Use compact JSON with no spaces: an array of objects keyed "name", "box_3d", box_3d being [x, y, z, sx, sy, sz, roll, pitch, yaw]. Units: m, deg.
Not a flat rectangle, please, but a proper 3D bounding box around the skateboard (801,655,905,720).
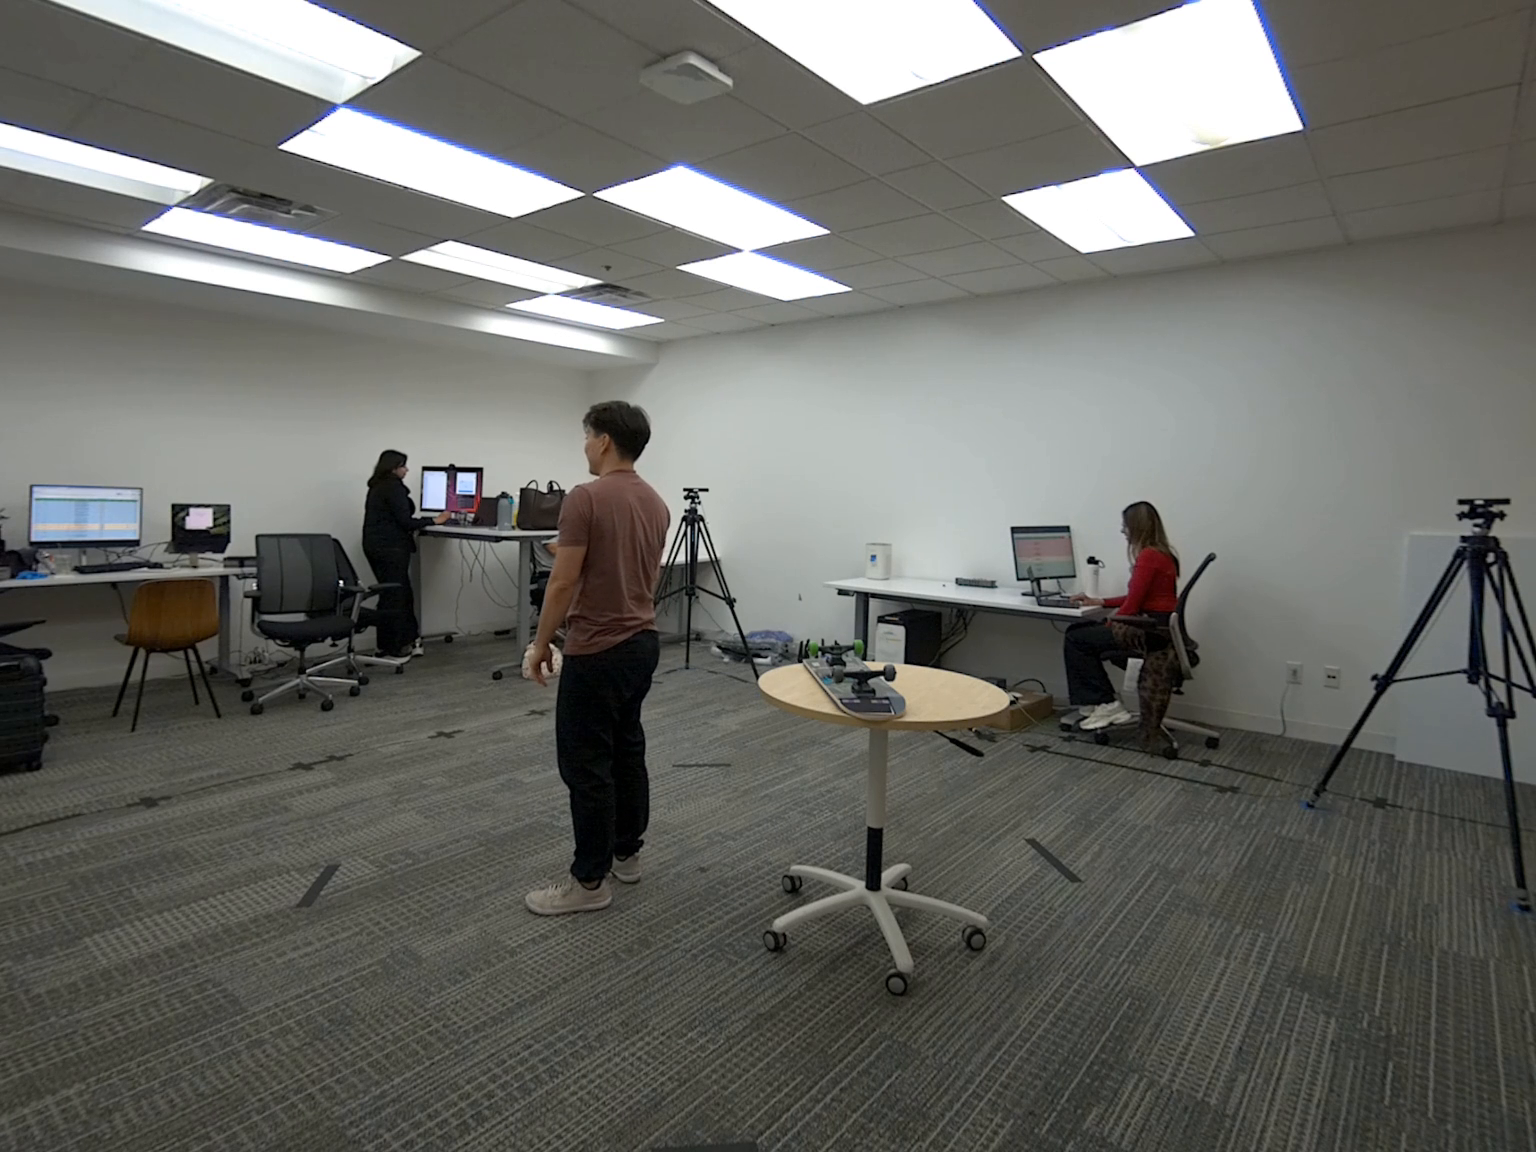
[{"name":"skateboard","box_3d":[0.246,0.296,2.653,0.192,0.110,0.794,-1,6,-7]}]
